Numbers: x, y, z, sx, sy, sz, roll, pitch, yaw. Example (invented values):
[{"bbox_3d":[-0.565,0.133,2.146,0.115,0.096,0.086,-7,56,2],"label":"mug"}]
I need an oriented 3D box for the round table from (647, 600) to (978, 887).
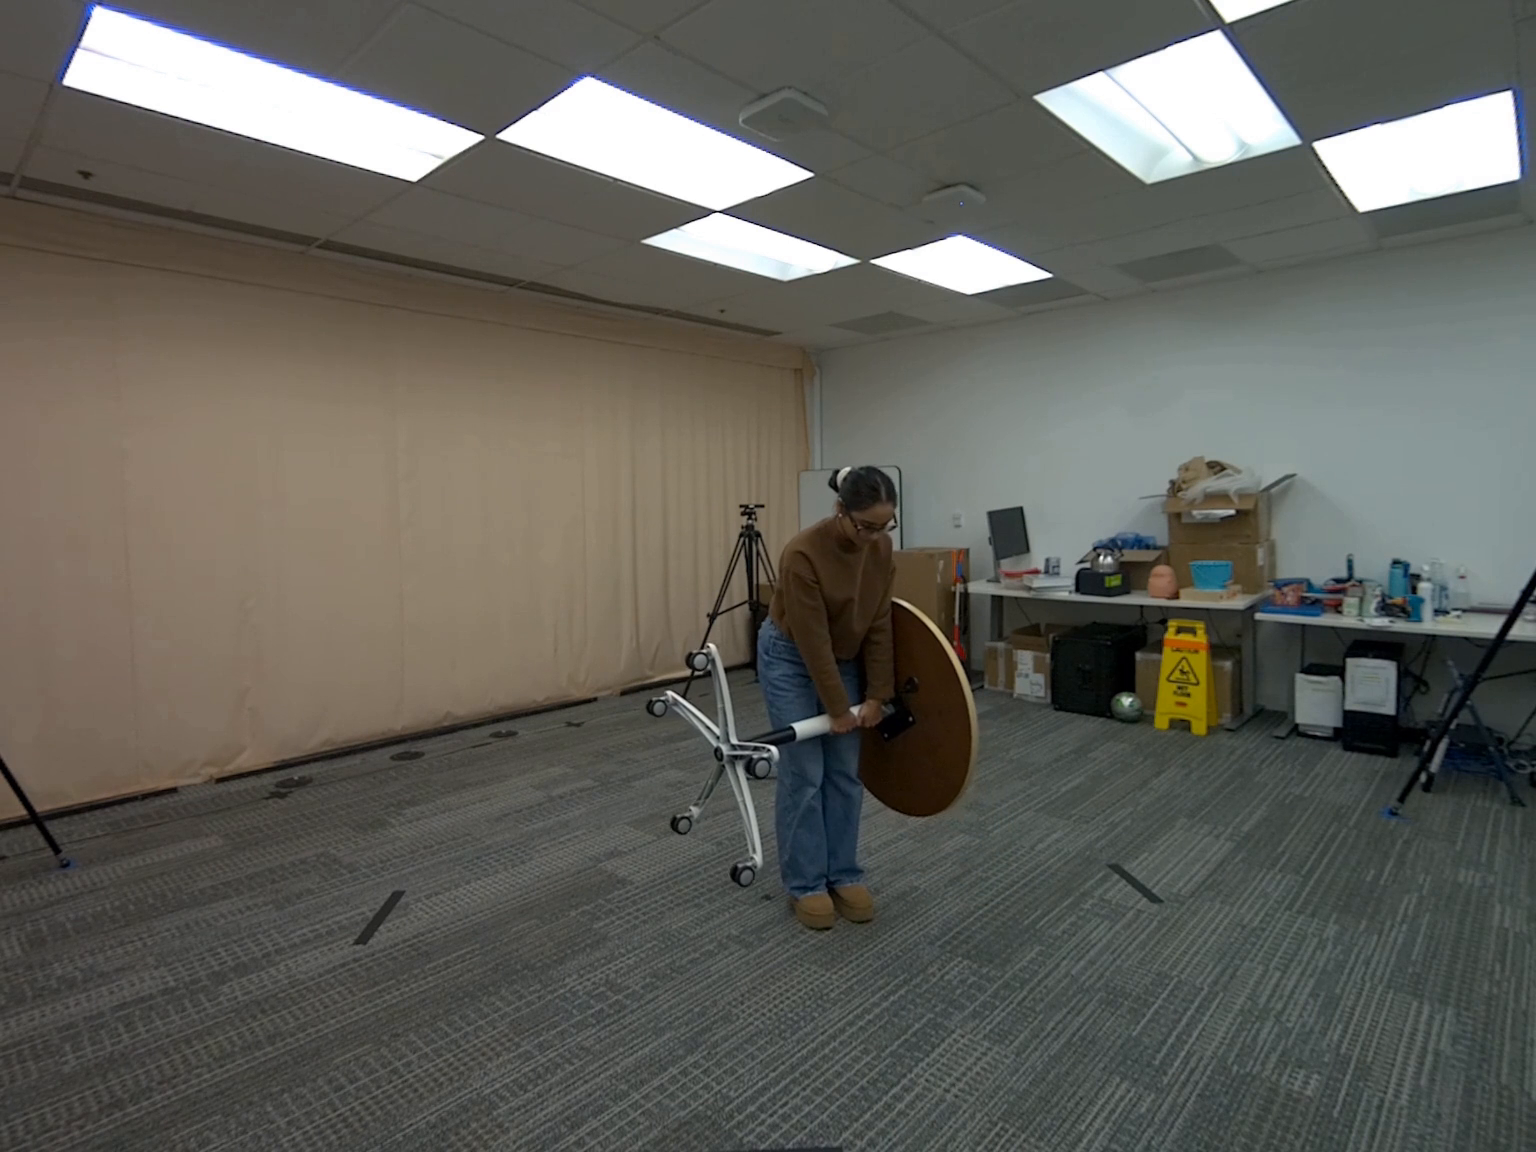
[{"bbox_3d":[0.119,0.514,2.736,0.774,0.760,0.787,-9,8,-31],"label":"round table"}]
